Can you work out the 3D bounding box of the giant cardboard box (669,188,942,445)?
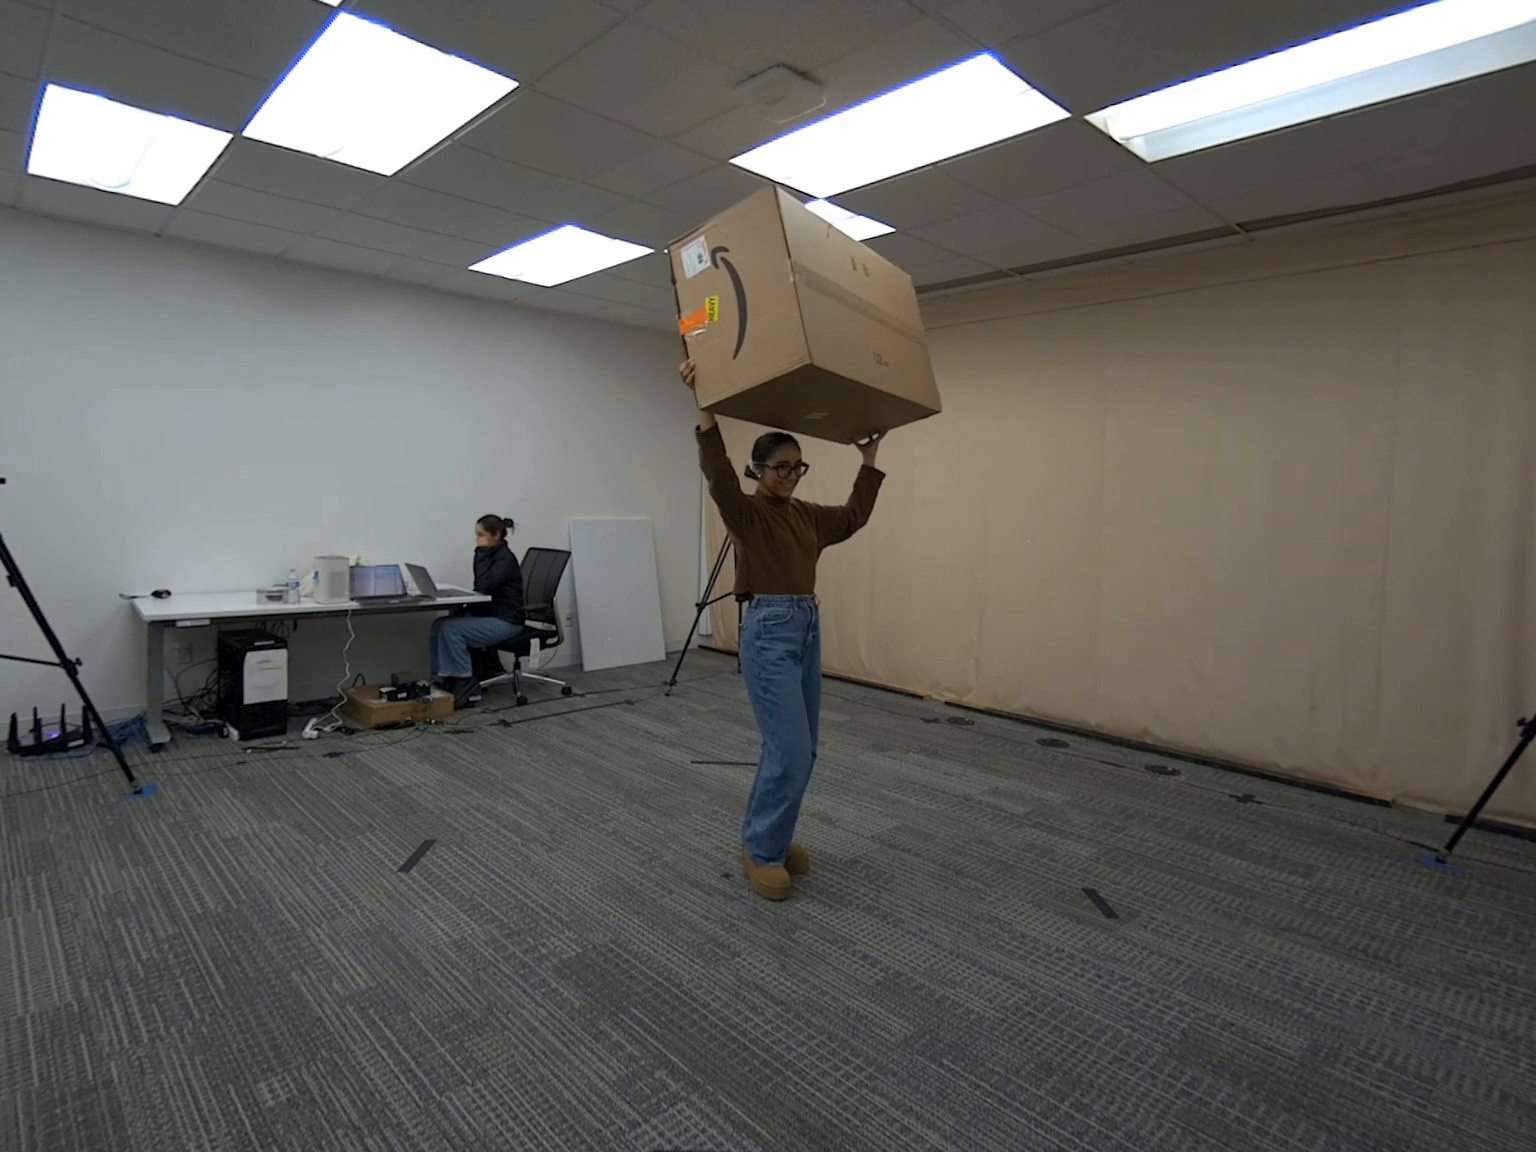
[{"bbox_3d":[0.165,-0.846,2.981,0.432,0.582,1.003,-17,-8,33],"label":"giant cardboard box"}]
